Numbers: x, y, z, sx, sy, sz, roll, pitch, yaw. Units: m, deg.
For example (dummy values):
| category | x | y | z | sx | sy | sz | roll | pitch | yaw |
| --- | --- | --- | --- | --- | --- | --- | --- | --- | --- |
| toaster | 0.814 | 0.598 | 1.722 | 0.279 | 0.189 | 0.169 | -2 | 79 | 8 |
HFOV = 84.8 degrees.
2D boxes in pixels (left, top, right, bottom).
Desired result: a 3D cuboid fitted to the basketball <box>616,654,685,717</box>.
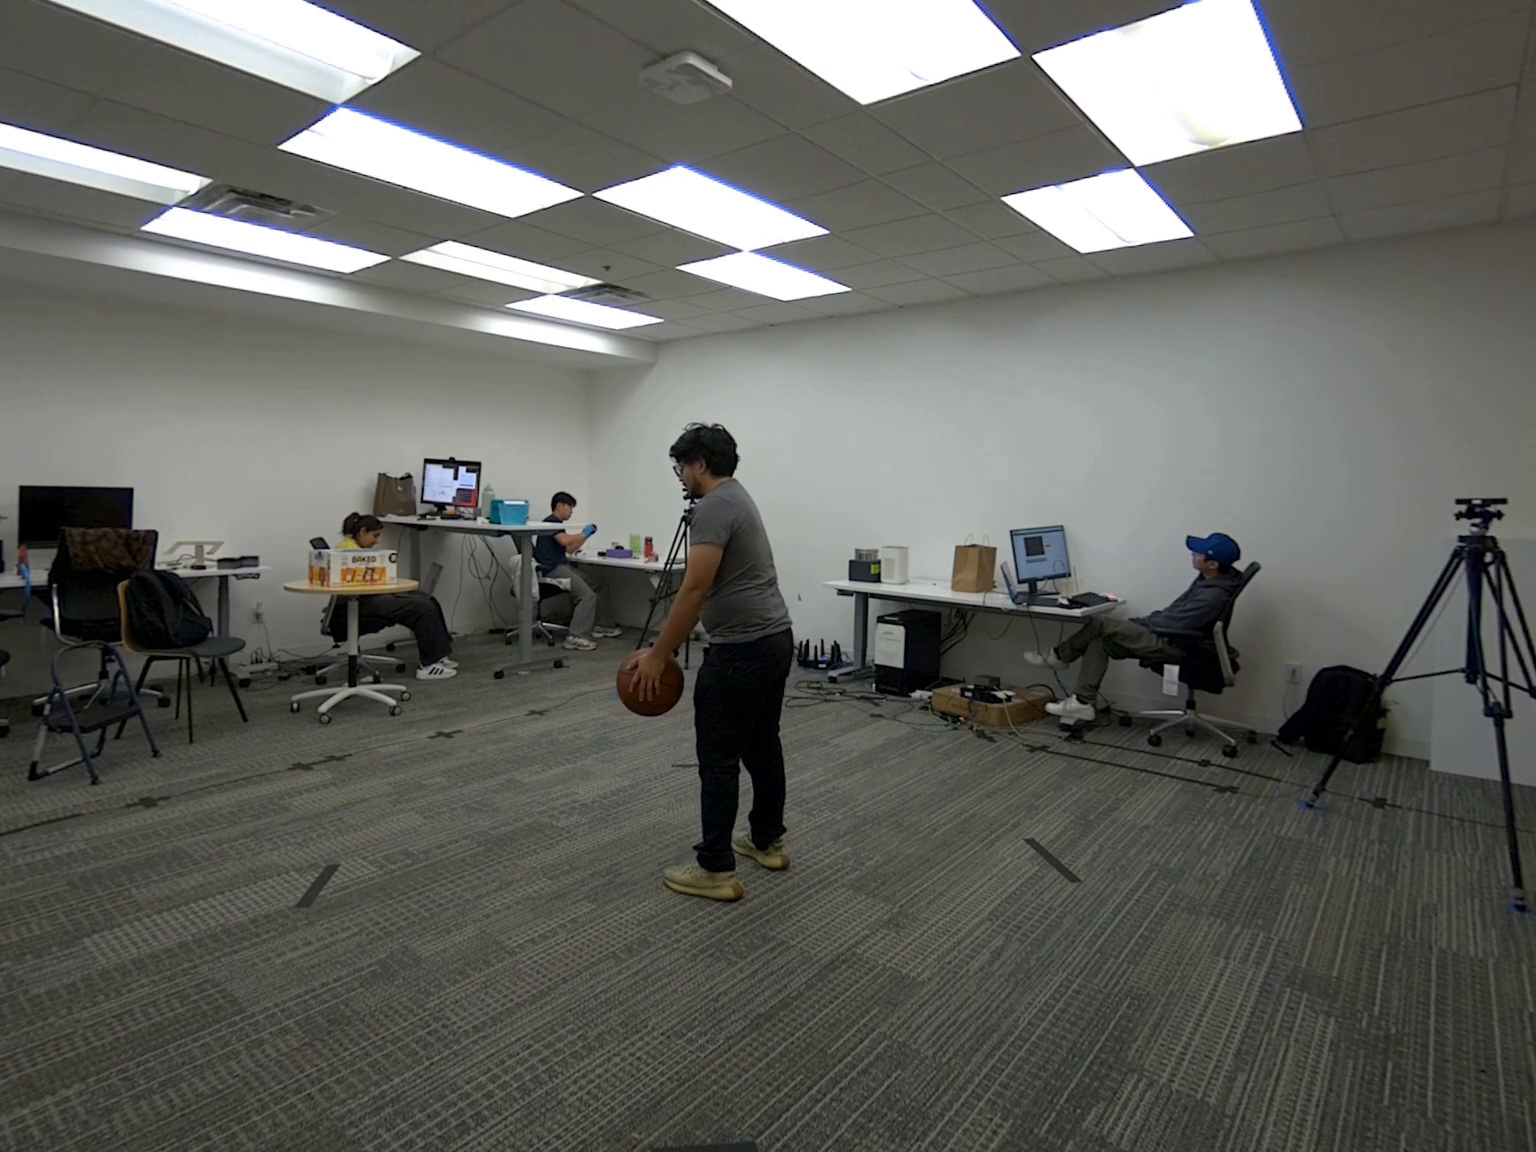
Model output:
| category | x | y | z | sx | sy | sz | roll | pitch | yaw |
| --- | --- | --- | --- | --- | --- | --- | --- | --- | --- |
| basketball | -0.428 | 0.365 | 2.988 | 0.235 | 0.235 | 0.237 | 1 | 4 | -2 |
